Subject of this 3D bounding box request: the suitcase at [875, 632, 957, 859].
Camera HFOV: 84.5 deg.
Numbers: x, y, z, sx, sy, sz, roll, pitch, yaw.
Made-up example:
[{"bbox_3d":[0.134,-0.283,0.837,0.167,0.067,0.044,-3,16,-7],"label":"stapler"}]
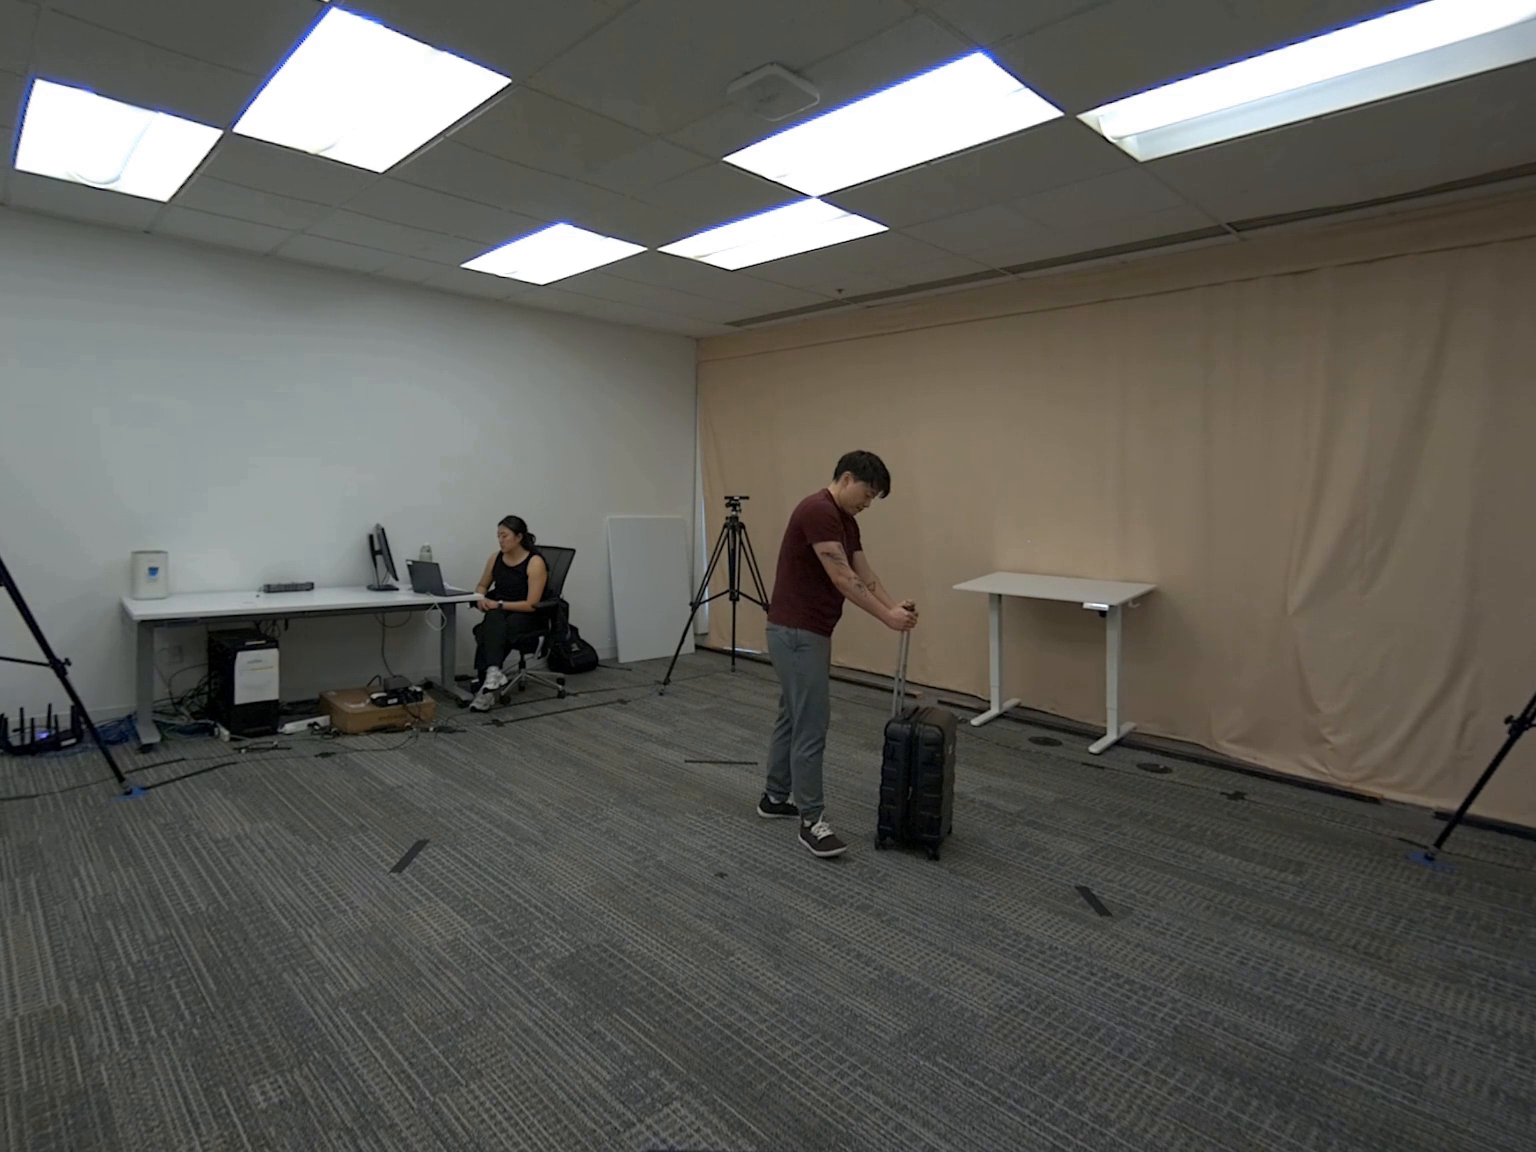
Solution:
[{"bbox_3d":[0.625,0.618,3.419,0.262,0.975,0.378,6,6,22],"label":"suitcase"}]
